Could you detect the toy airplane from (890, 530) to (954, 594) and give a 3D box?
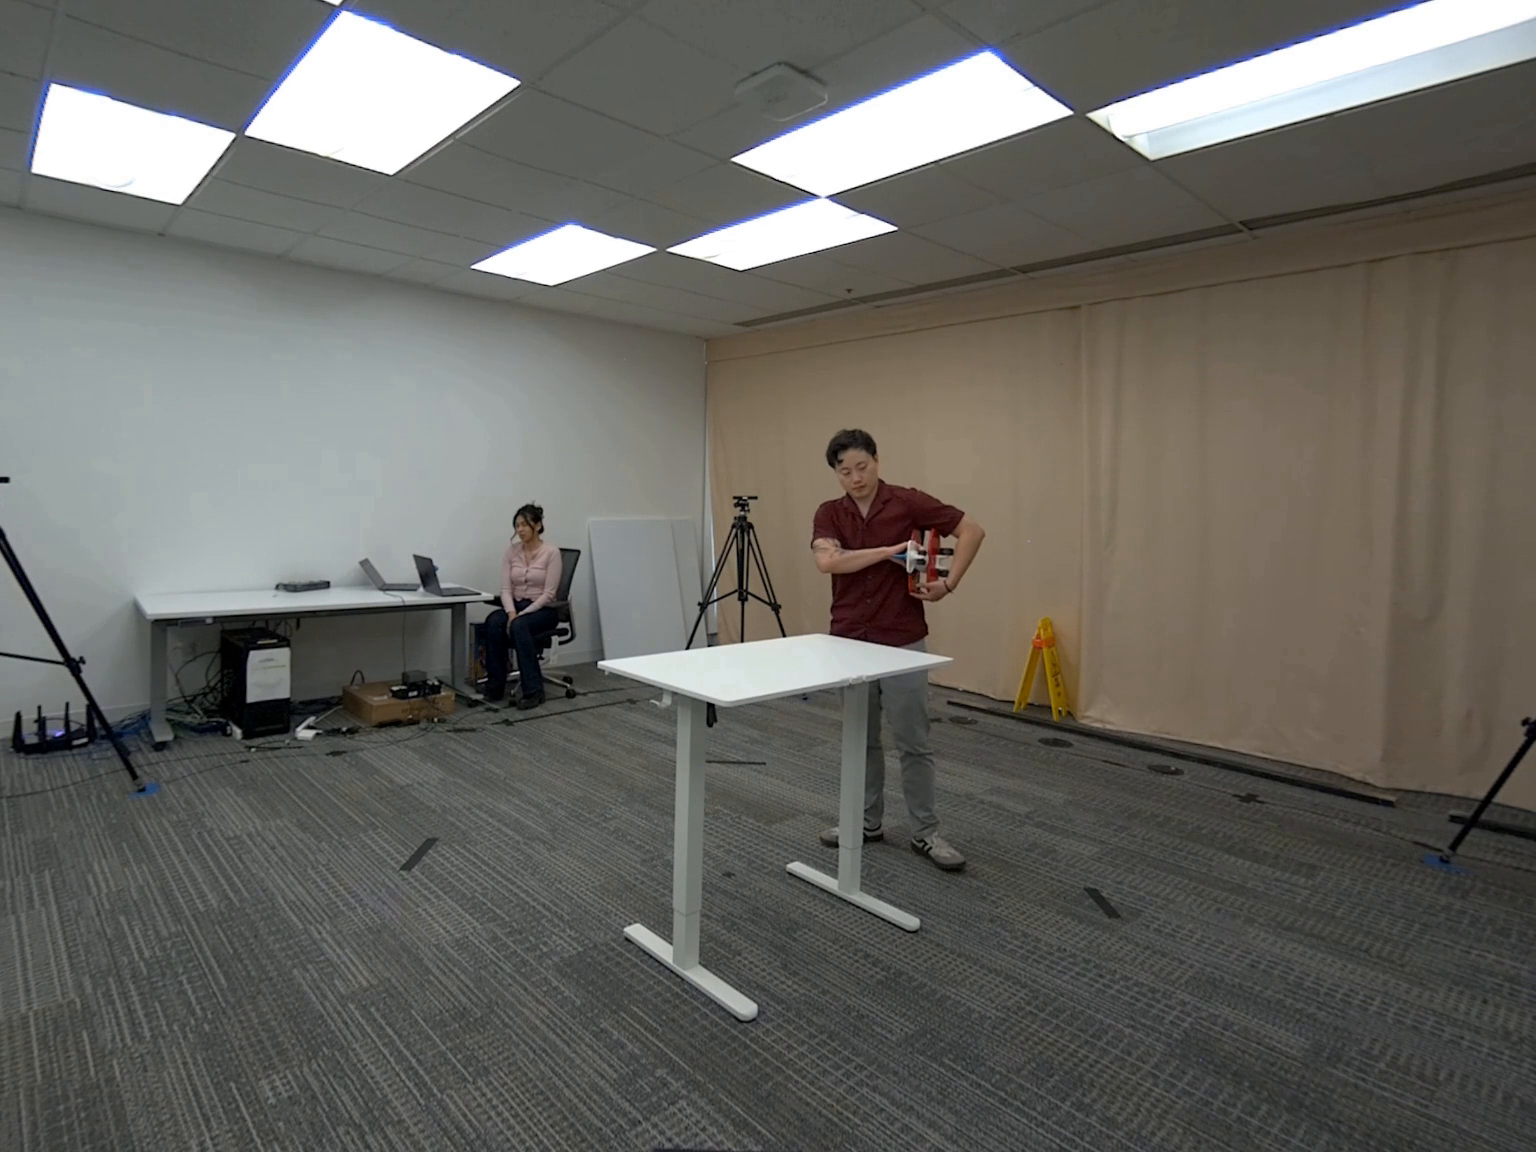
[{"bbox_3d":[0.577,-0.081,3.230,0.160,0.253,0.251,-6,-38,45],"label":"toy airplane"}]
